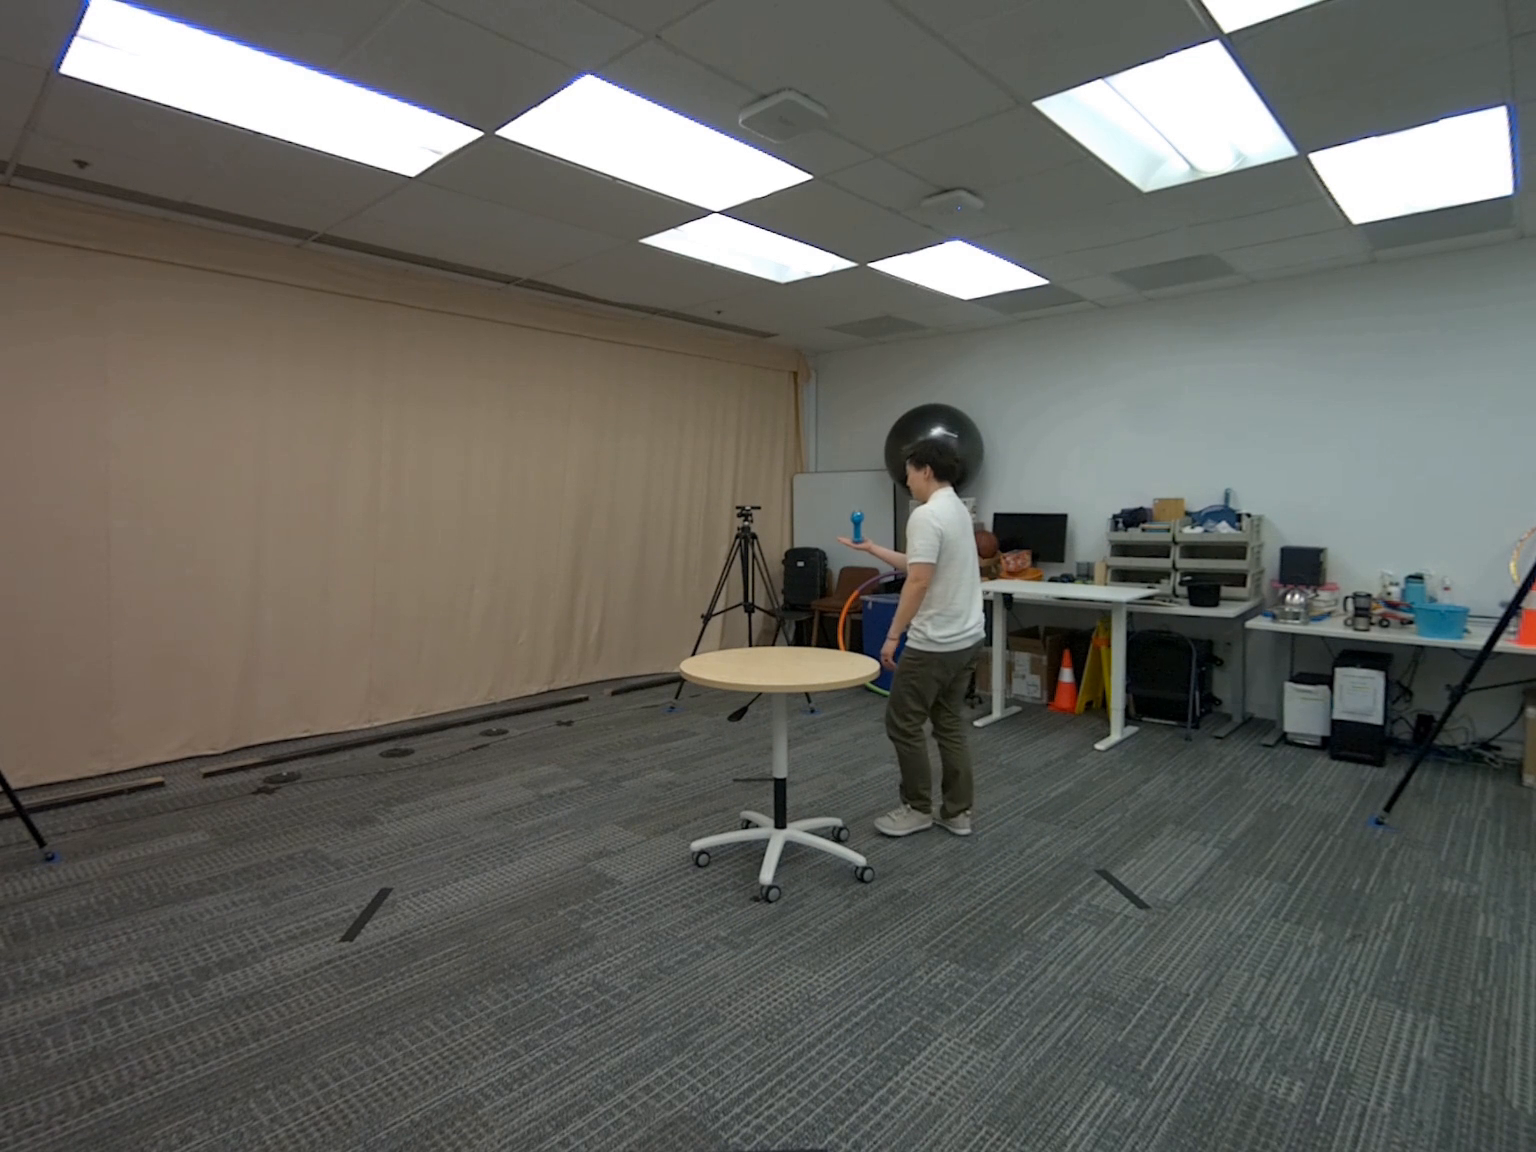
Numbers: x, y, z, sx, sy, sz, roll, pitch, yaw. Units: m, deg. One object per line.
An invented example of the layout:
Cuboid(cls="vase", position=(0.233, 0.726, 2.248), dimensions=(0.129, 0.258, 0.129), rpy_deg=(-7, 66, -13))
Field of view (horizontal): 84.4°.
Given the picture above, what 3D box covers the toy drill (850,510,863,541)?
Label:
Cuboid(cls="toy drill", position=(0.417, -0.234, 3.867), dimensions=(0.062, 0.144, 0.169), rpy_deg=(-5, 15, 10))
